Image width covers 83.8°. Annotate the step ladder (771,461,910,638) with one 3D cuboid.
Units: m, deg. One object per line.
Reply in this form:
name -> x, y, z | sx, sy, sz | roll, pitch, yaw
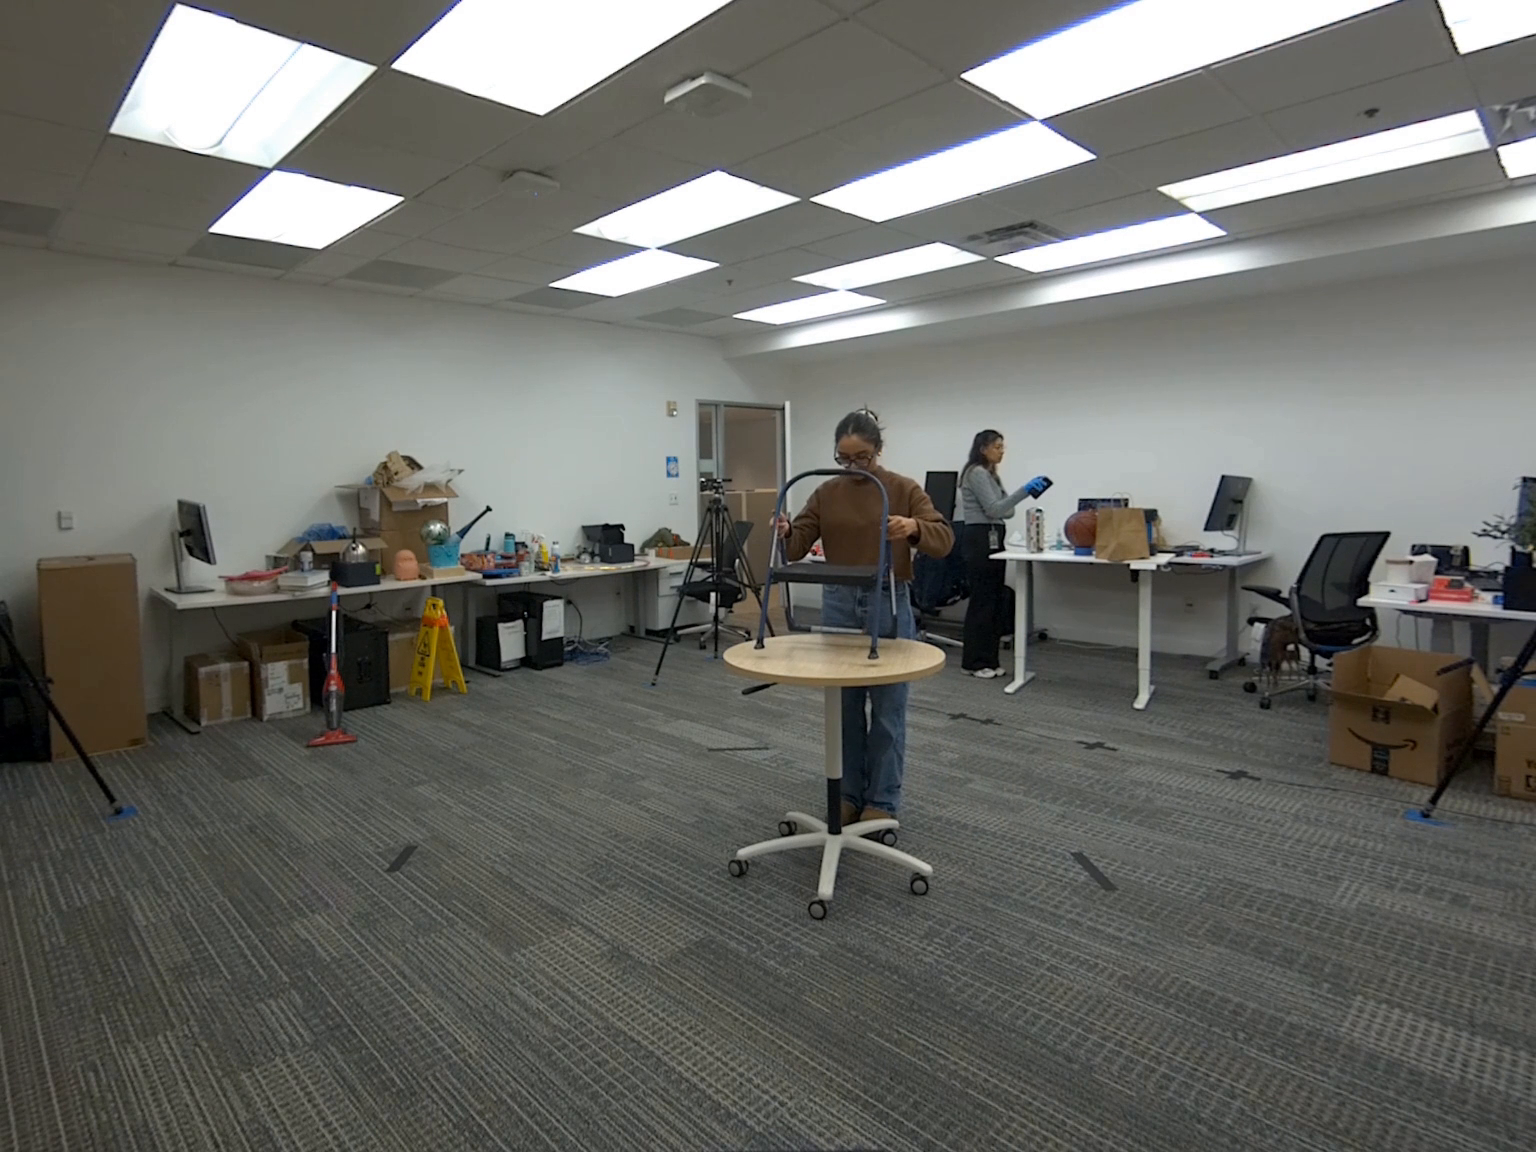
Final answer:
step ladder -> 0.208, -0.060, 2.961 | 0.440, 0.603, 0.343 | 2, 6, 22
